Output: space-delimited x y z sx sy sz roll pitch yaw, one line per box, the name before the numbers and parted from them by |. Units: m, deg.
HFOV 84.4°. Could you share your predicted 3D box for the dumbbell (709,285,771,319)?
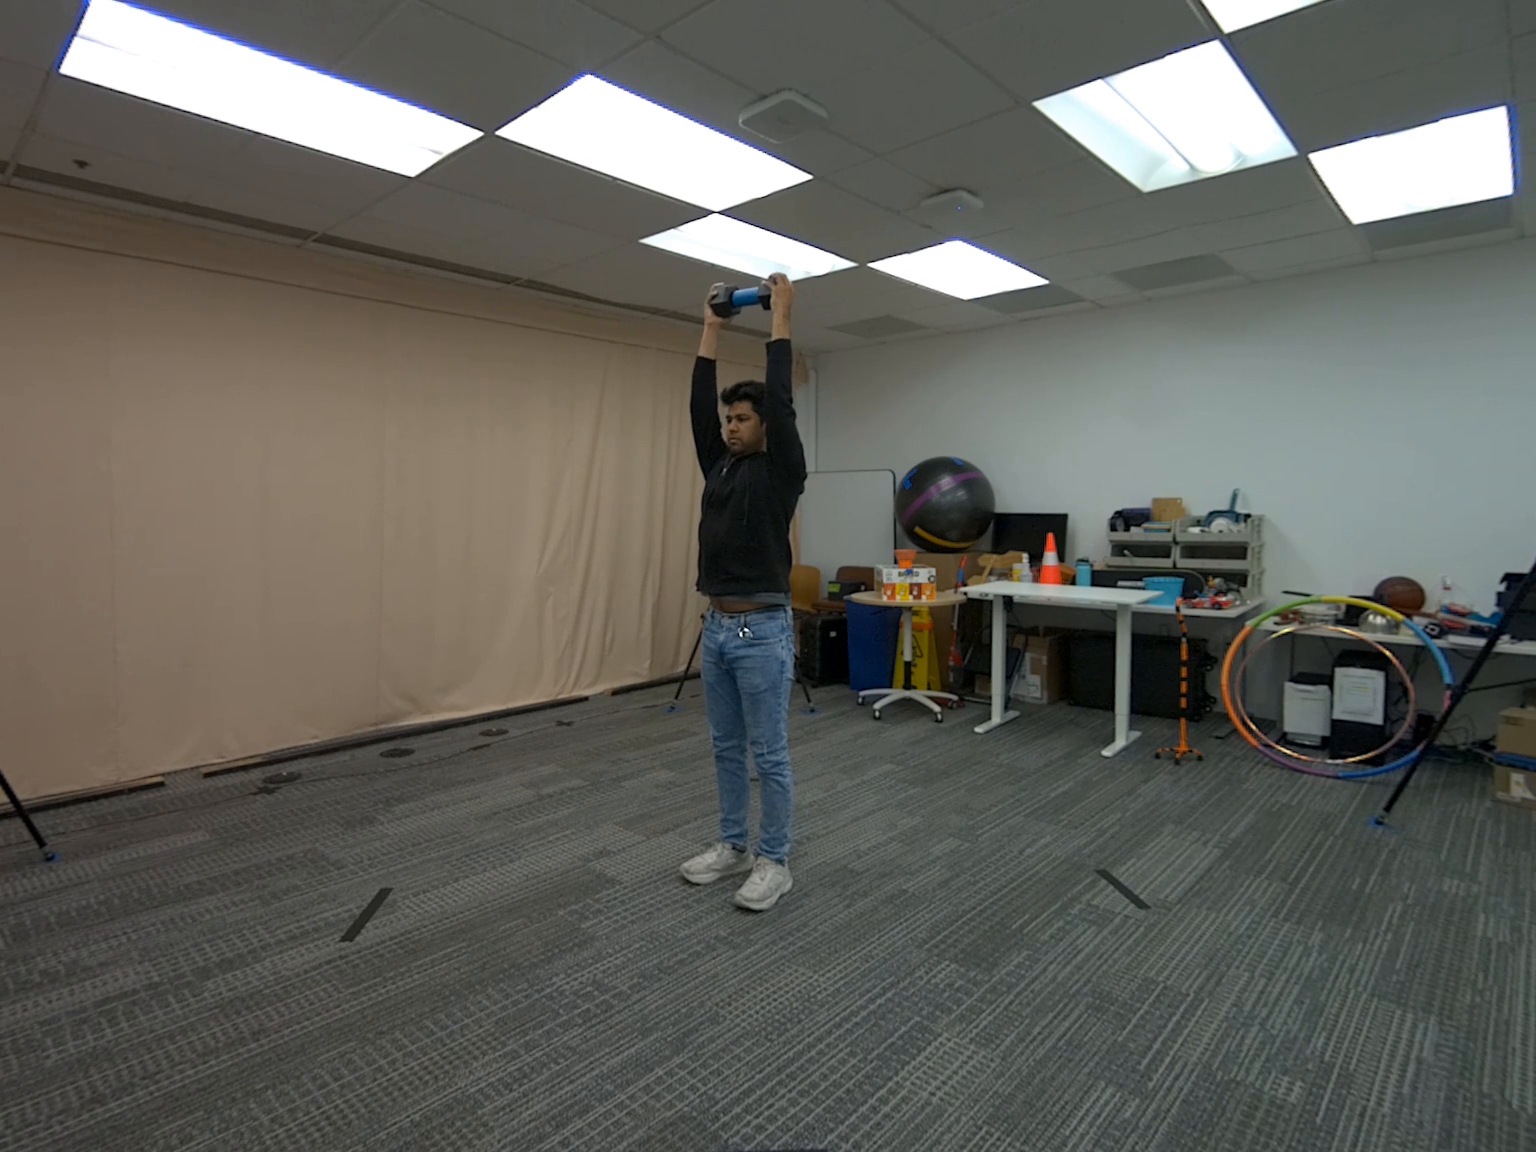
dumbbell | -0.064 -1.001 3.019 0.303 0.107 0.120 7 20 37
